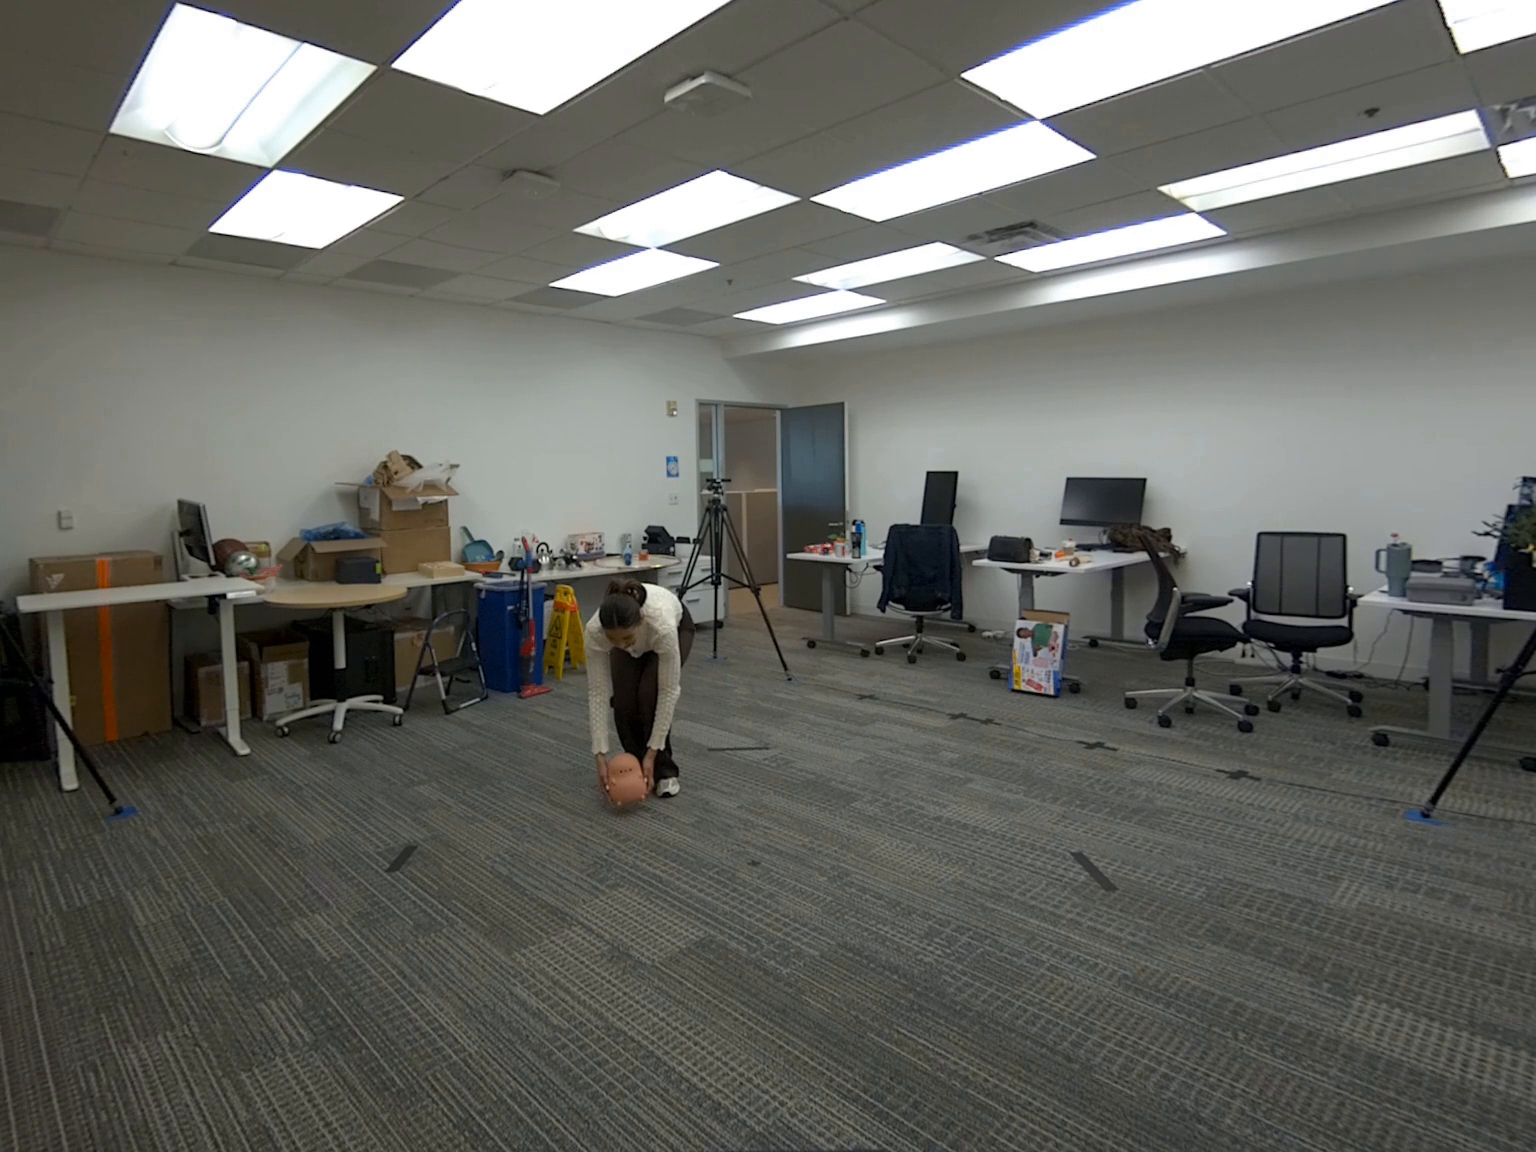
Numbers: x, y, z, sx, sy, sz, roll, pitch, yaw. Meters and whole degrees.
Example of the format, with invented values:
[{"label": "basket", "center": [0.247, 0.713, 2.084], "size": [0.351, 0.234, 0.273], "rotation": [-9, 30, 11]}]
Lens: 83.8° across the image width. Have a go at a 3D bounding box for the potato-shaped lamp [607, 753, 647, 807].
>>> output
[{"label": "potato-shaped lamp", "center": [-0.604, 0.841, 3.619], "size": [0.163, 0.197, 0.174], "rotation": [-8, 5, -13]}]
